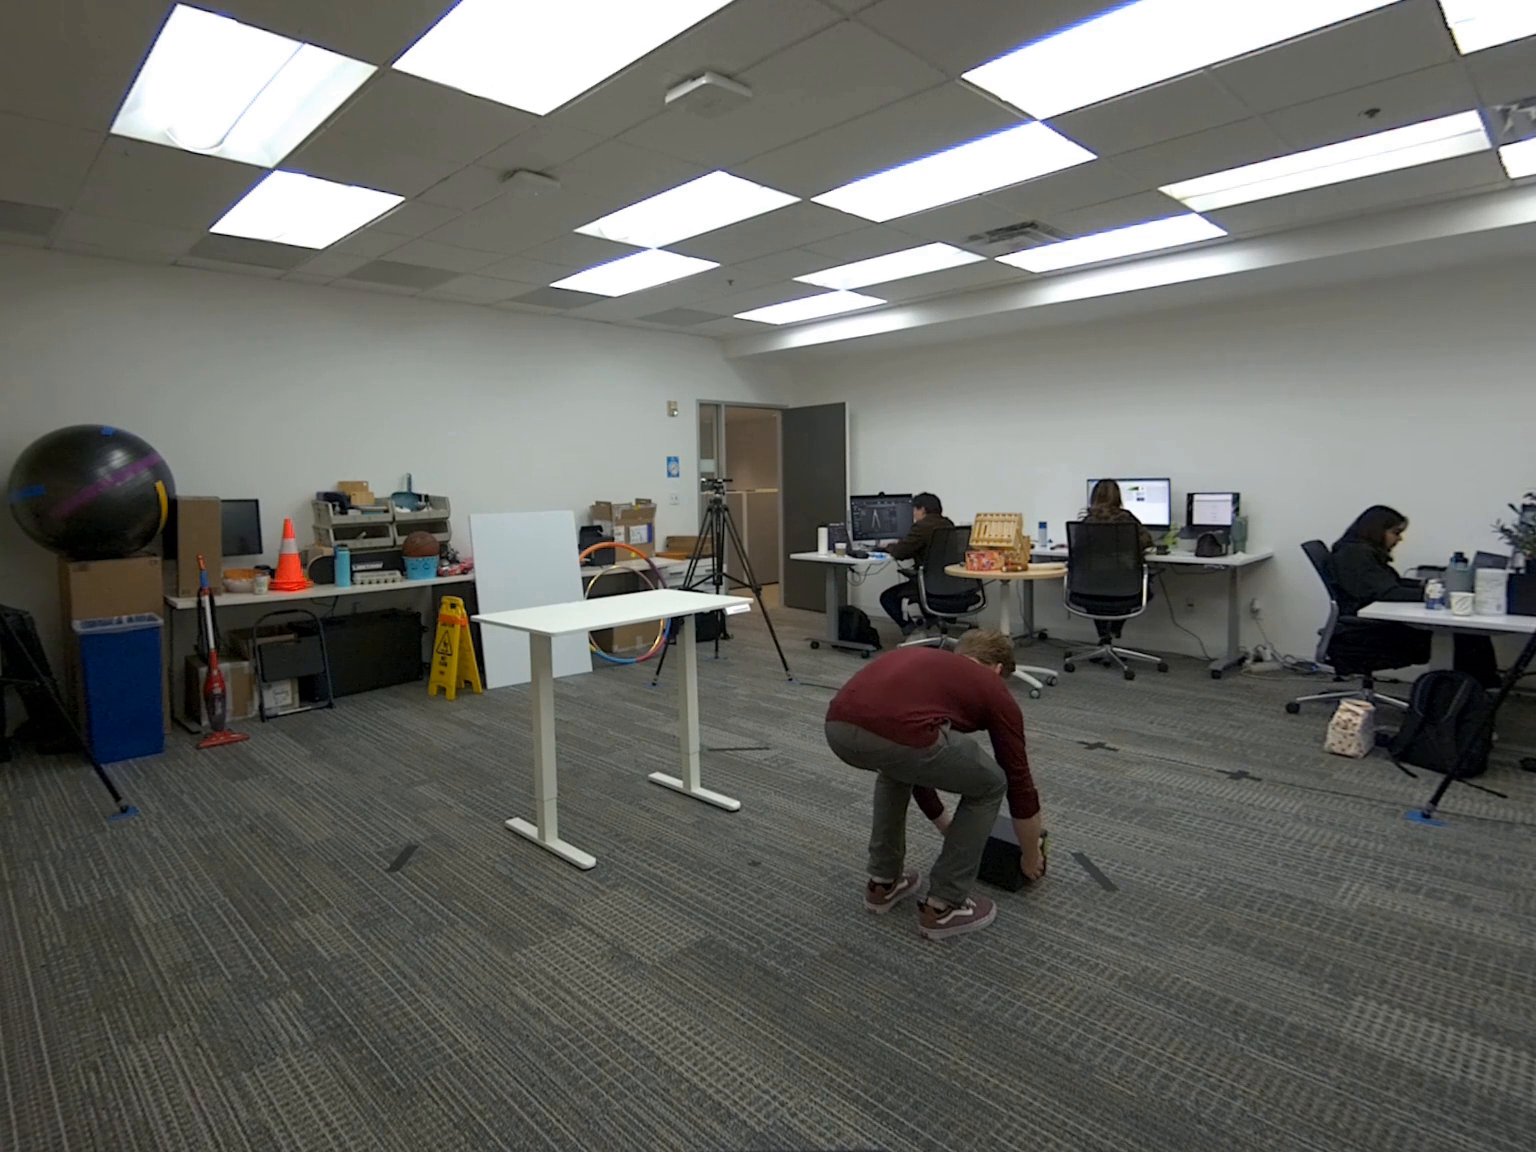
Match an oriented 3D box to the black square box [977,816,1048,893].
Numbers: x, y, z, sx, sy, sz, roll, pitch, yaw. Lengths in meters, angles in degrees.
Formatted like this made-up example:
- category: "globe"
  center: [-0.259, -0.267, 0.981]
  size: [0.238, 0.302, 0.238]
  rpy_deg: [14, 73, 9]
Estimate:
- category: "black square box"
  center: [0.829, 0.962, 3.001]
  size: [0.211, 0.156, 0.235]
  rpy_deg: [0, 2, -44]
